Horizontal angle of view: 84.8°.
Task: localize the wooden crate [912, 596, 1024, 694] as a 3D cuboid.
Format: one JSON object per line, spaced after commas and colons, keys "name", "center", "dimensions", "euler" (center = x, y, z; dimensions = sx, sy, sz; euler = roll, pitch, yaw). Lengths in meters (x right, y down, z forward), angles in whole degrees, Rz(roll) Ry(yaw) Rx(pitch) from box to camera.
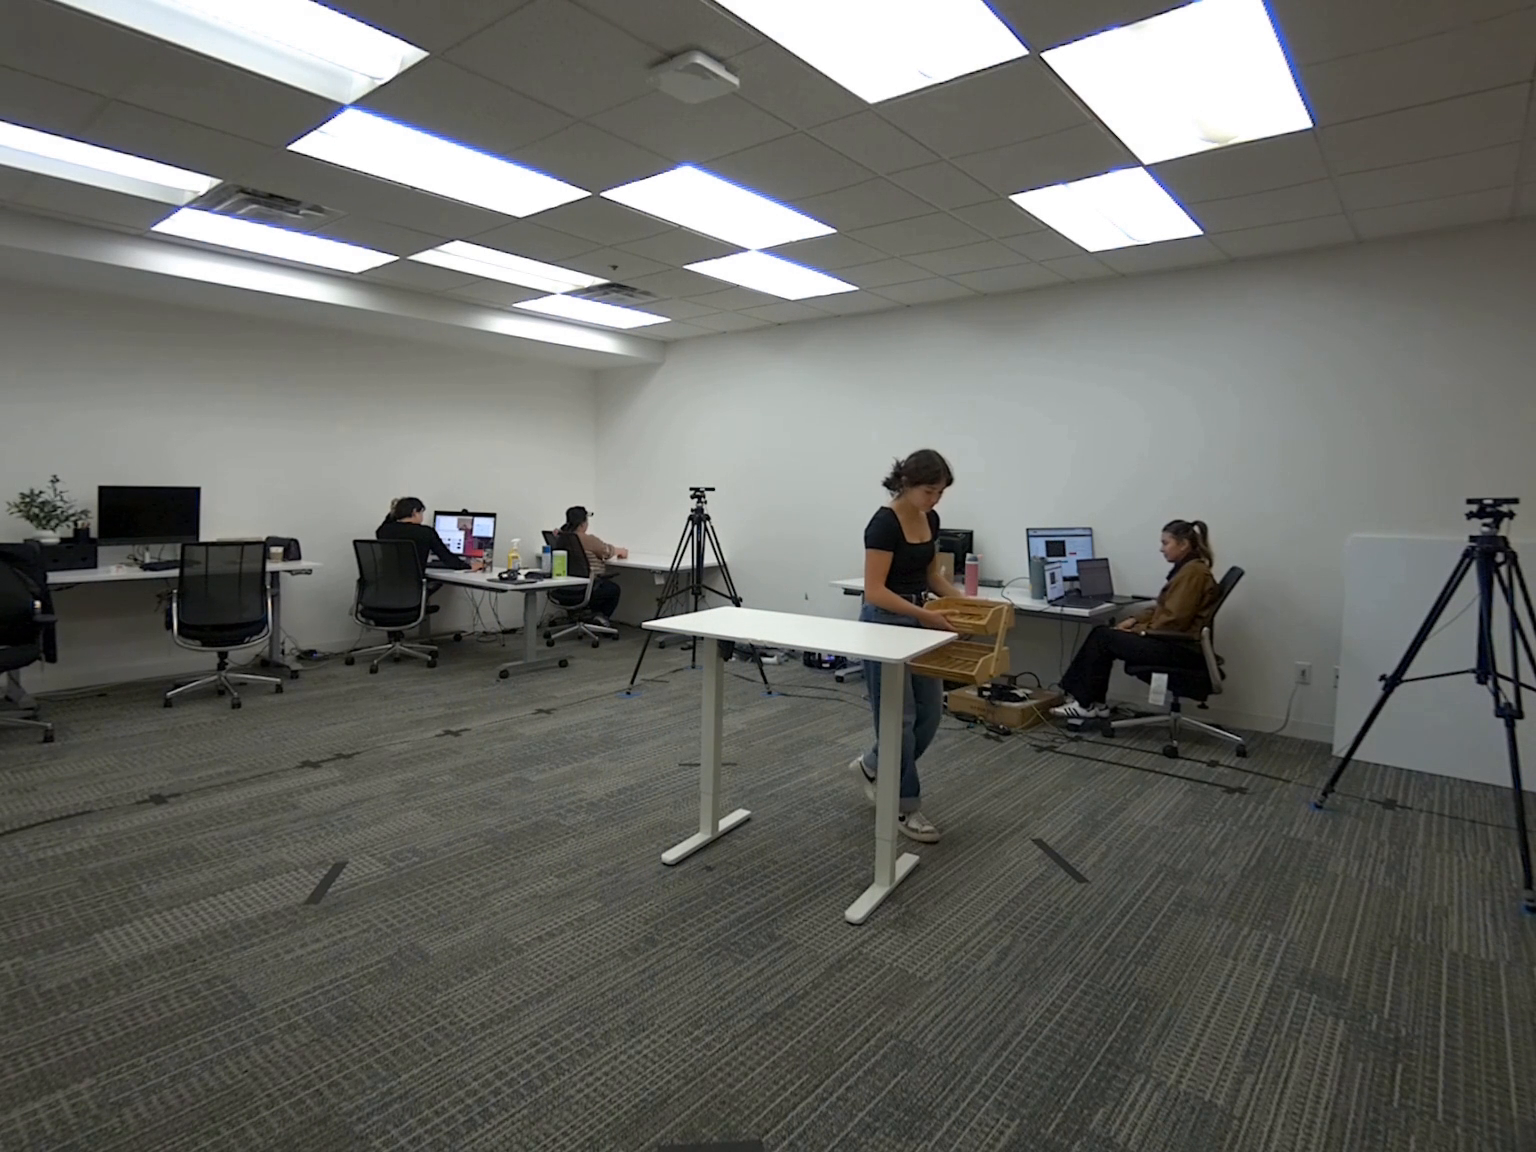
{"name": "wooden crate", "center": [0.746, 0.237, 3.326], "dimensions": [0.294, 0.271, 0.335], "euler": [-11, 11, -43]}
